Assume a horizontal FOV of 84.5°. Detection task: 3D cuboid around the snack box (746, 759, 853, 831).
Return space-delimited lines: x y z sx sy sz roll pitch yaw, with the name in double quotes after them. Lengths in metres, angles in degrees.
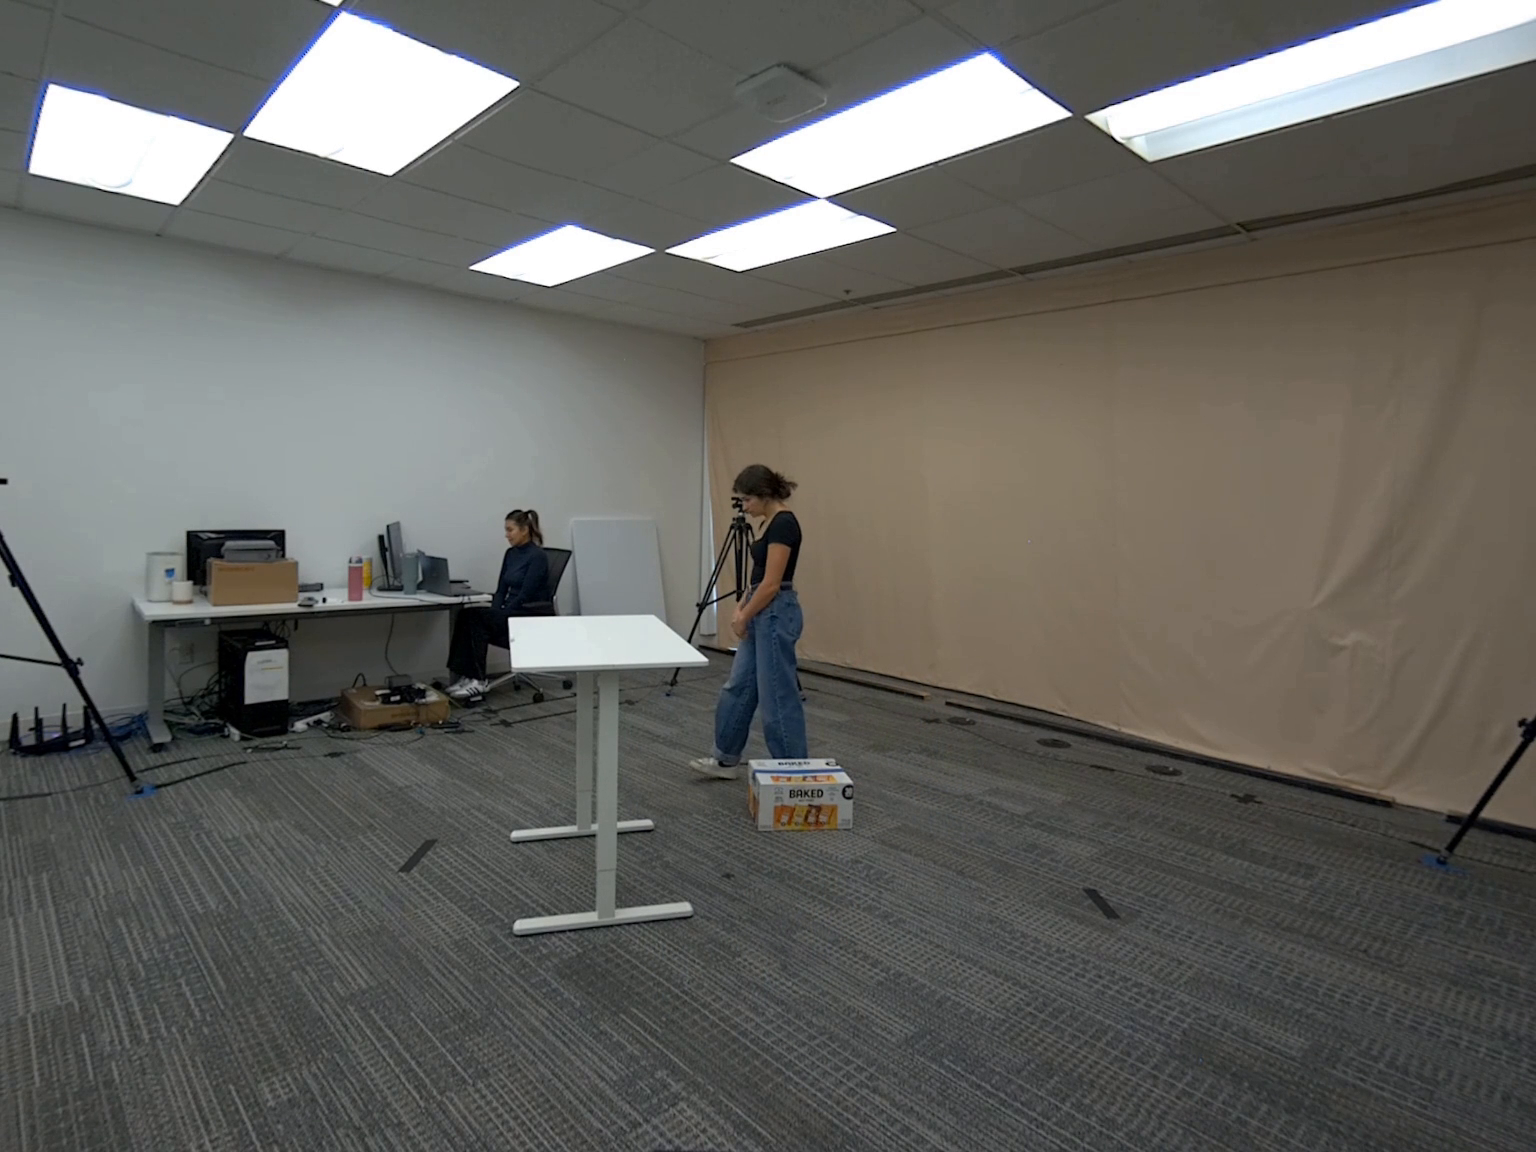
0.125 0.959 3.719 0.402 0.205 0.343 1 4 -9 "snack box"
